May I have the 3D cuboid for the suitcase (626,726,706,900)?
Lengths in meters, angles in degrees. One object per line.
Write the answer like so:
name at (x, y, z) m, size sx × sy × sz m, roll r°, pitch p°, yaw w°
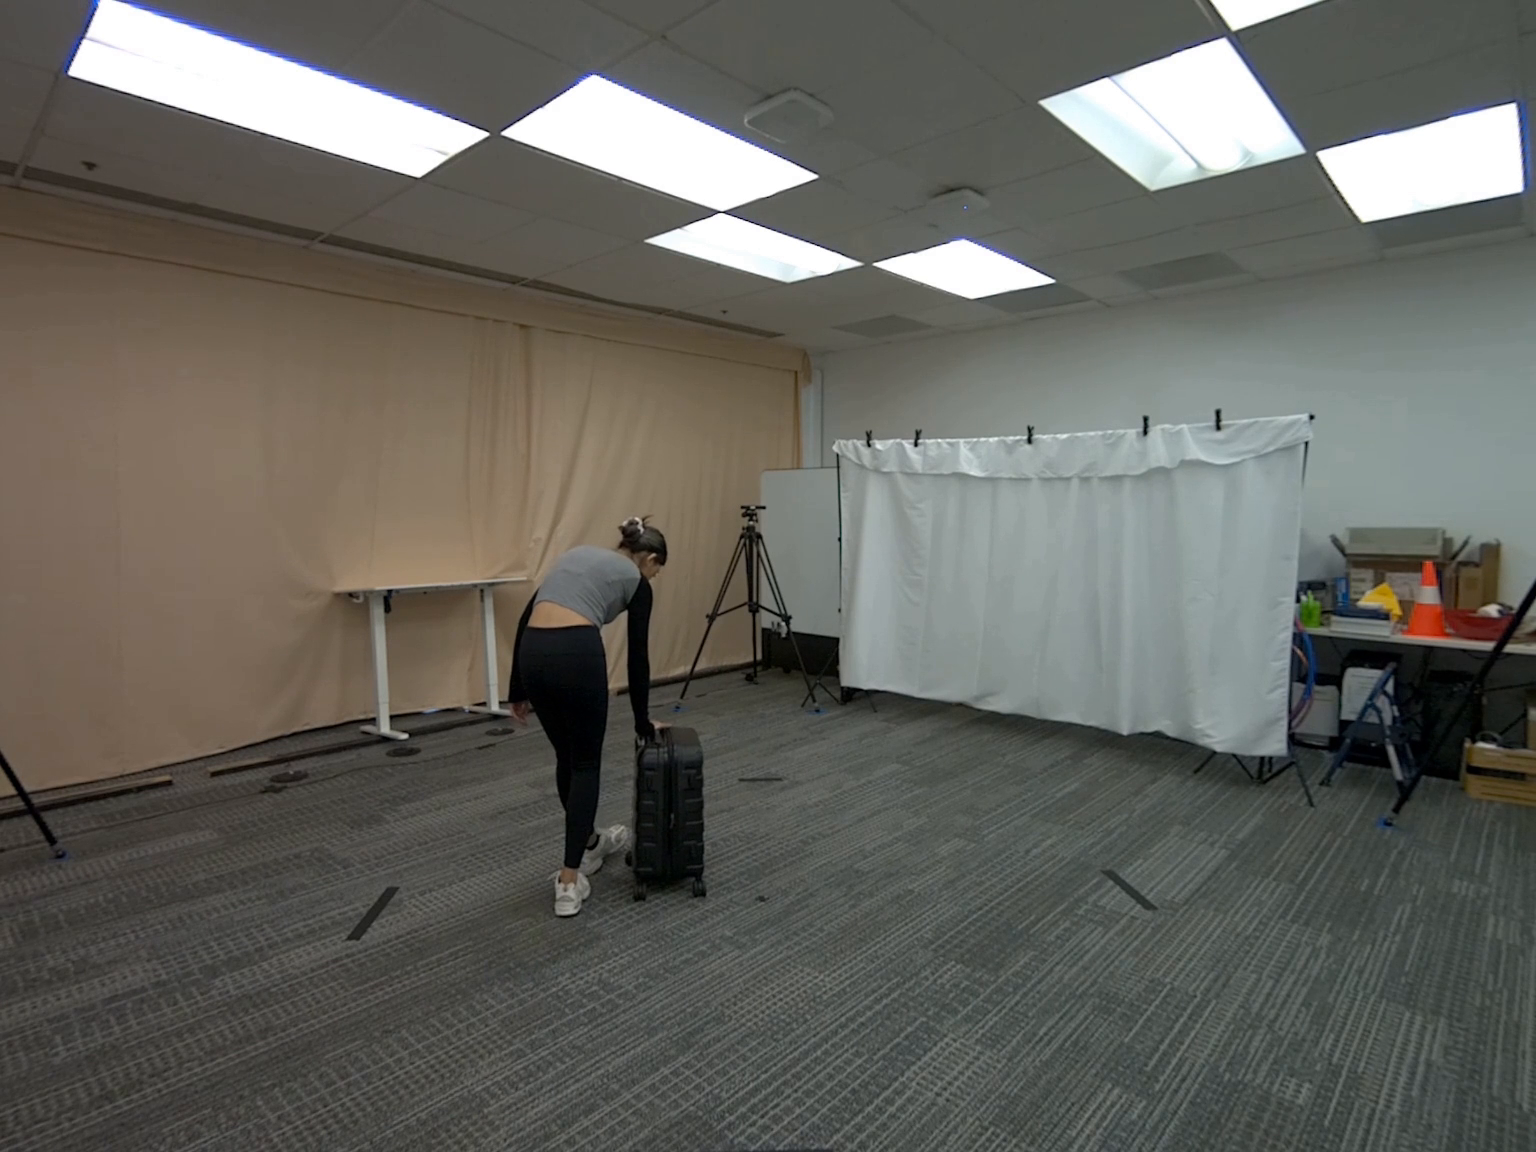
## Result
suitcase at (-0.376, 0.852, 3.153) m, size 0.246 × 0.549 × 0.379 m, roll 0°, pitch 2°, yaw -9°
